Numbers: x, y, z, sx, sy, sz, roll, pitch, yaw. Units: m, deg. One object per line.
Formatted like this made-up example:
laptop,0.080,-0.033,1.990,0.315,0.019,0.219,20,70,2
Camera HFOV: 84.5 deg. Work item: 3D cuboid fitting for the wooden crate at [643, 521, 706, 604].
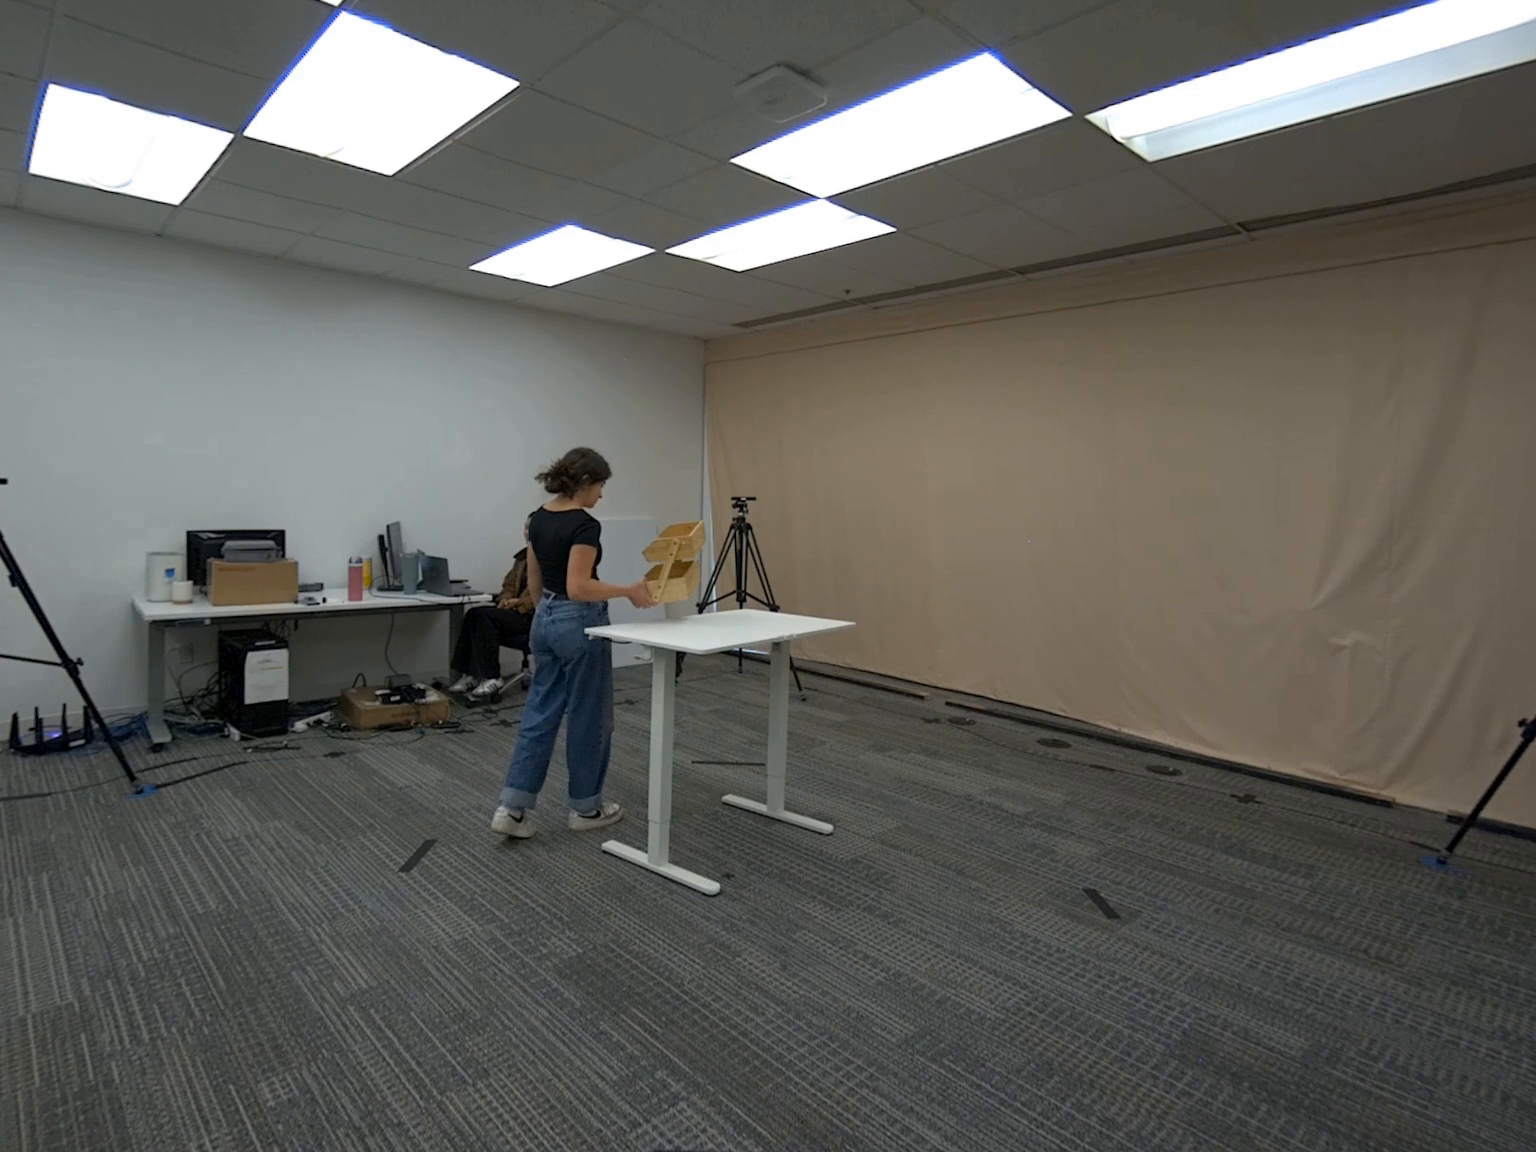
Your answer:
wooden crate,-0.441,-0.063,3.512,0.304,0.270,0.326,-5,13,7
